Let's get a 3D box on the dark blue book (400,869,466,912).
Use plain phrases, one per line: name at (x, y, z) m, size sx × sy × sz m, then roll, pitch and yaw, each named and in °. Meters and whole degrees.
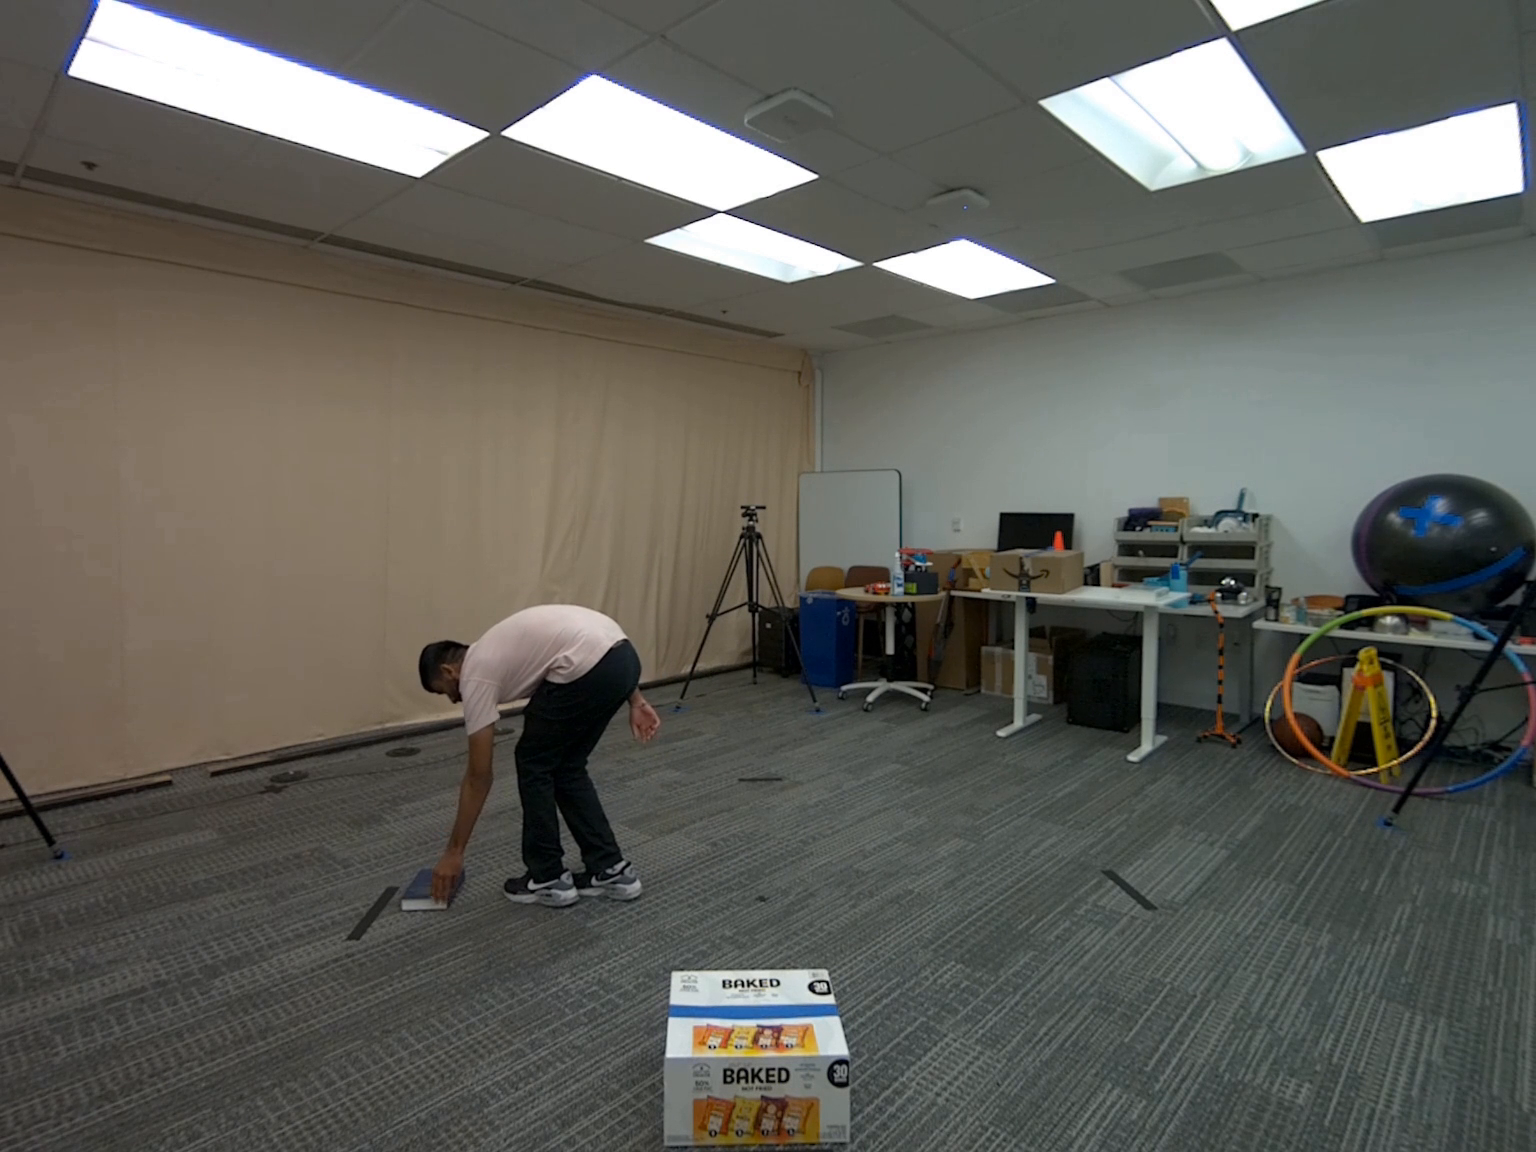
dark blue book at (-1.210, 1.127, 3.037) m, size 0.163 × 0.045 × 0.247 m, roll -2°, pitch 5°, yaw -5°
